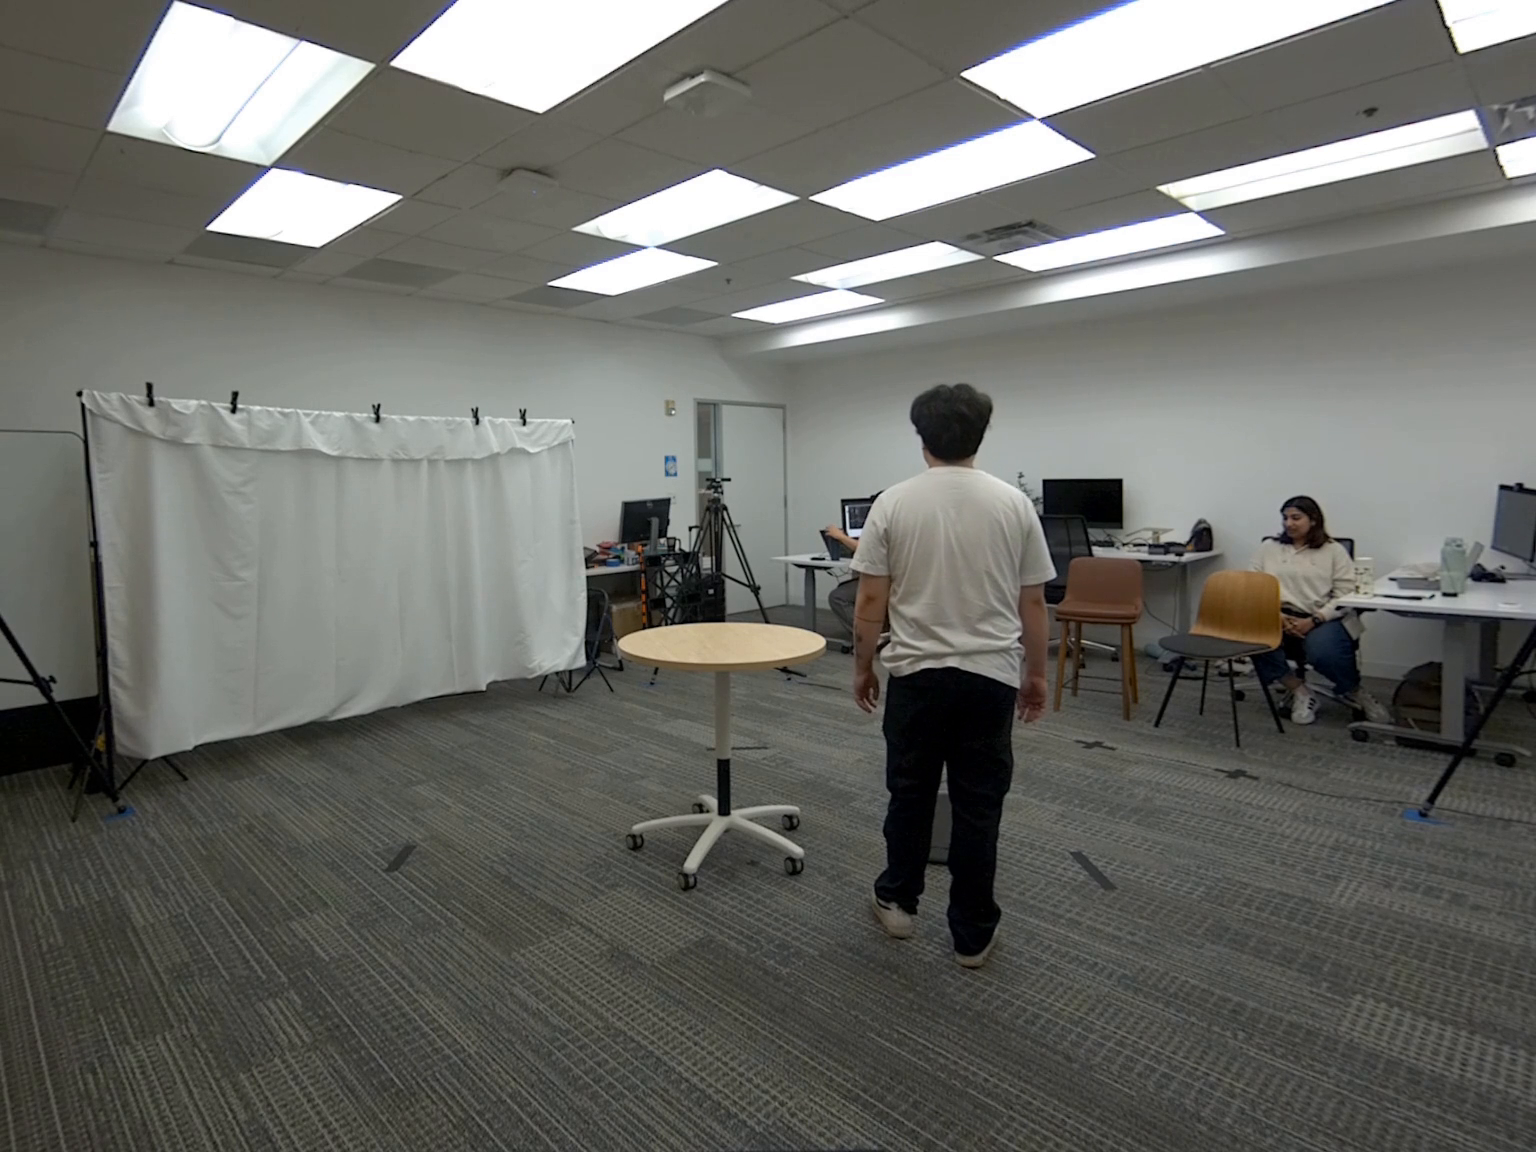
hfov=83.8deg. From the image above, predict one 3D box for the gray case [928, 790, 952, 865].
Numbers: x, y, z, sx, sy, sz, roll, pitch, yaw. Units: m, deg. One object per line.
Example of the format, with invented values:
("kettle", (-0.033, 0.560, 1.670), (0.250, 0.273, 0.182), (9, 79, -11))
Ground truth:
("gray case", (0.674, 0.902, 3.098), (0.260, 0.262, 0.102), (0, -6, 12))
